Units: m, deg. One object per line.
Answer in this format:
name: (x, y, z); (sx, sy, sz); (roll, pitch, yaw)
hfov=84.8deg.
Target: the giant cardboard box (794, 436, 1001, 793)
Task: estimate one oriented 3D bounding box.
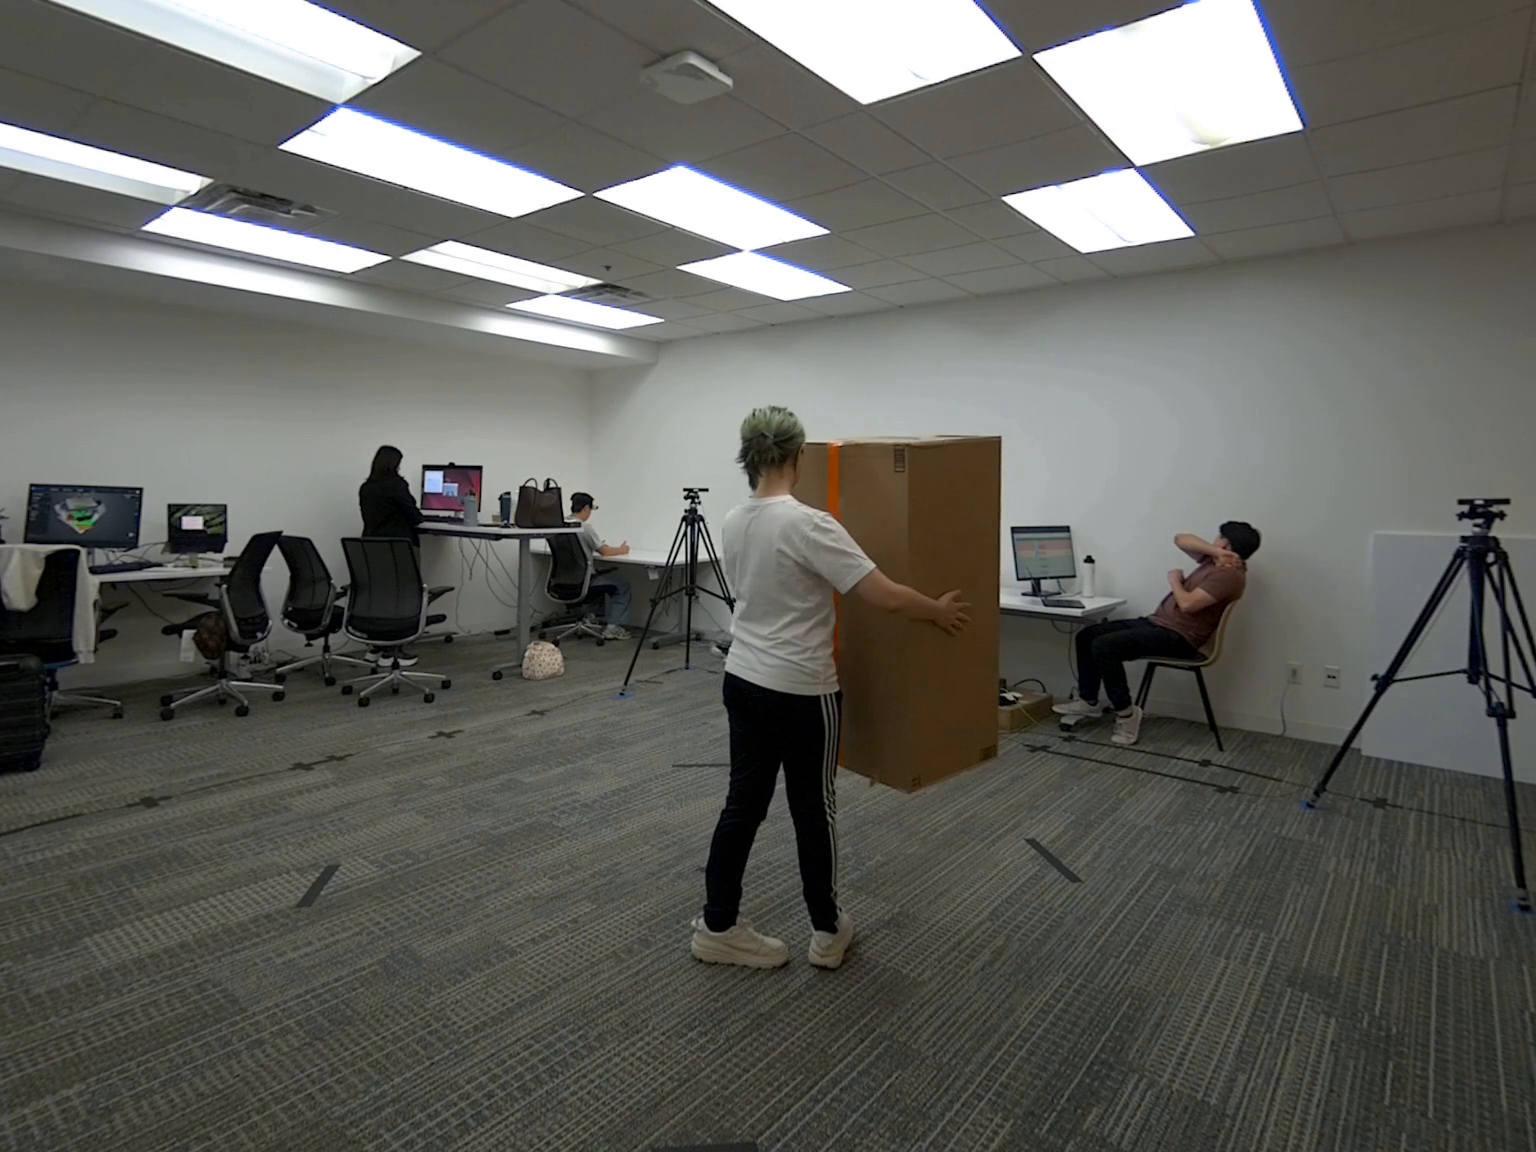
giant cardboard box: (0.373, 0.073, 2.746); (0.435, 1.019, 0.604); (-7, 10, -37)
